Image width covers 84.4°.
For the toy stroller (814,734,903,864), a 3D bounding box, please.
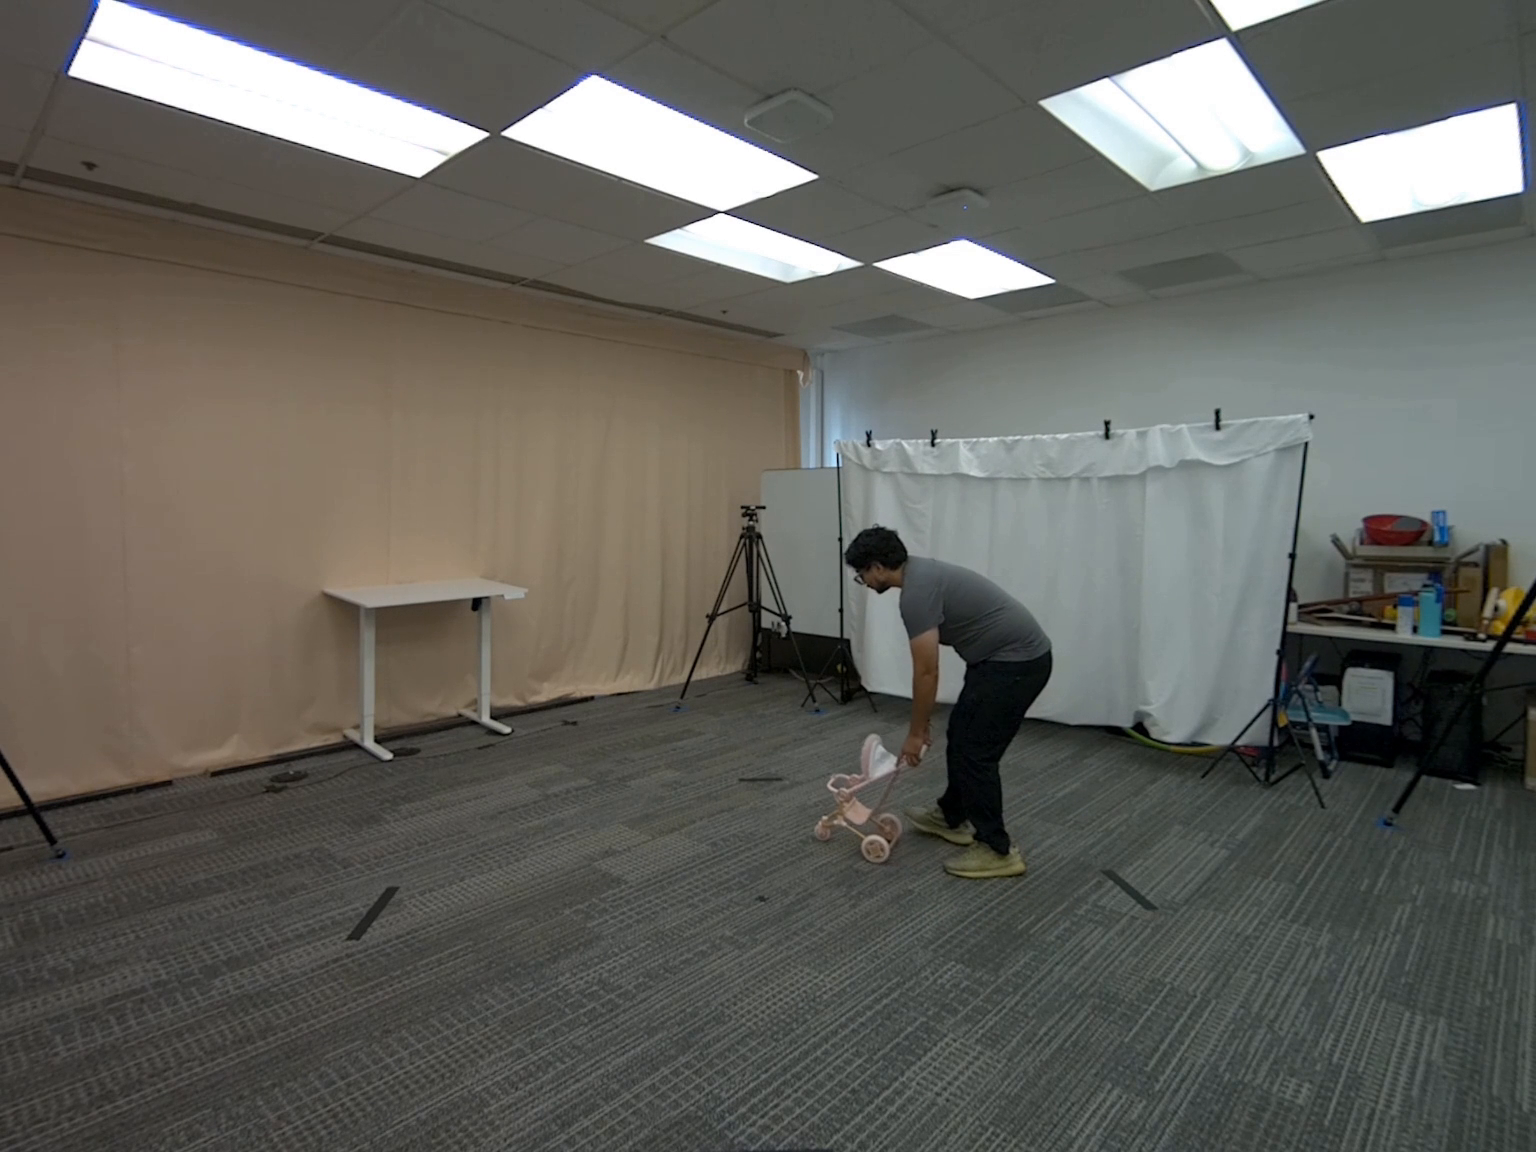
[{"bbox_3d":[0.402,0.886,3.416,0.351,0.533,0.274,20,11,24],"label":"toy stroller"}]
